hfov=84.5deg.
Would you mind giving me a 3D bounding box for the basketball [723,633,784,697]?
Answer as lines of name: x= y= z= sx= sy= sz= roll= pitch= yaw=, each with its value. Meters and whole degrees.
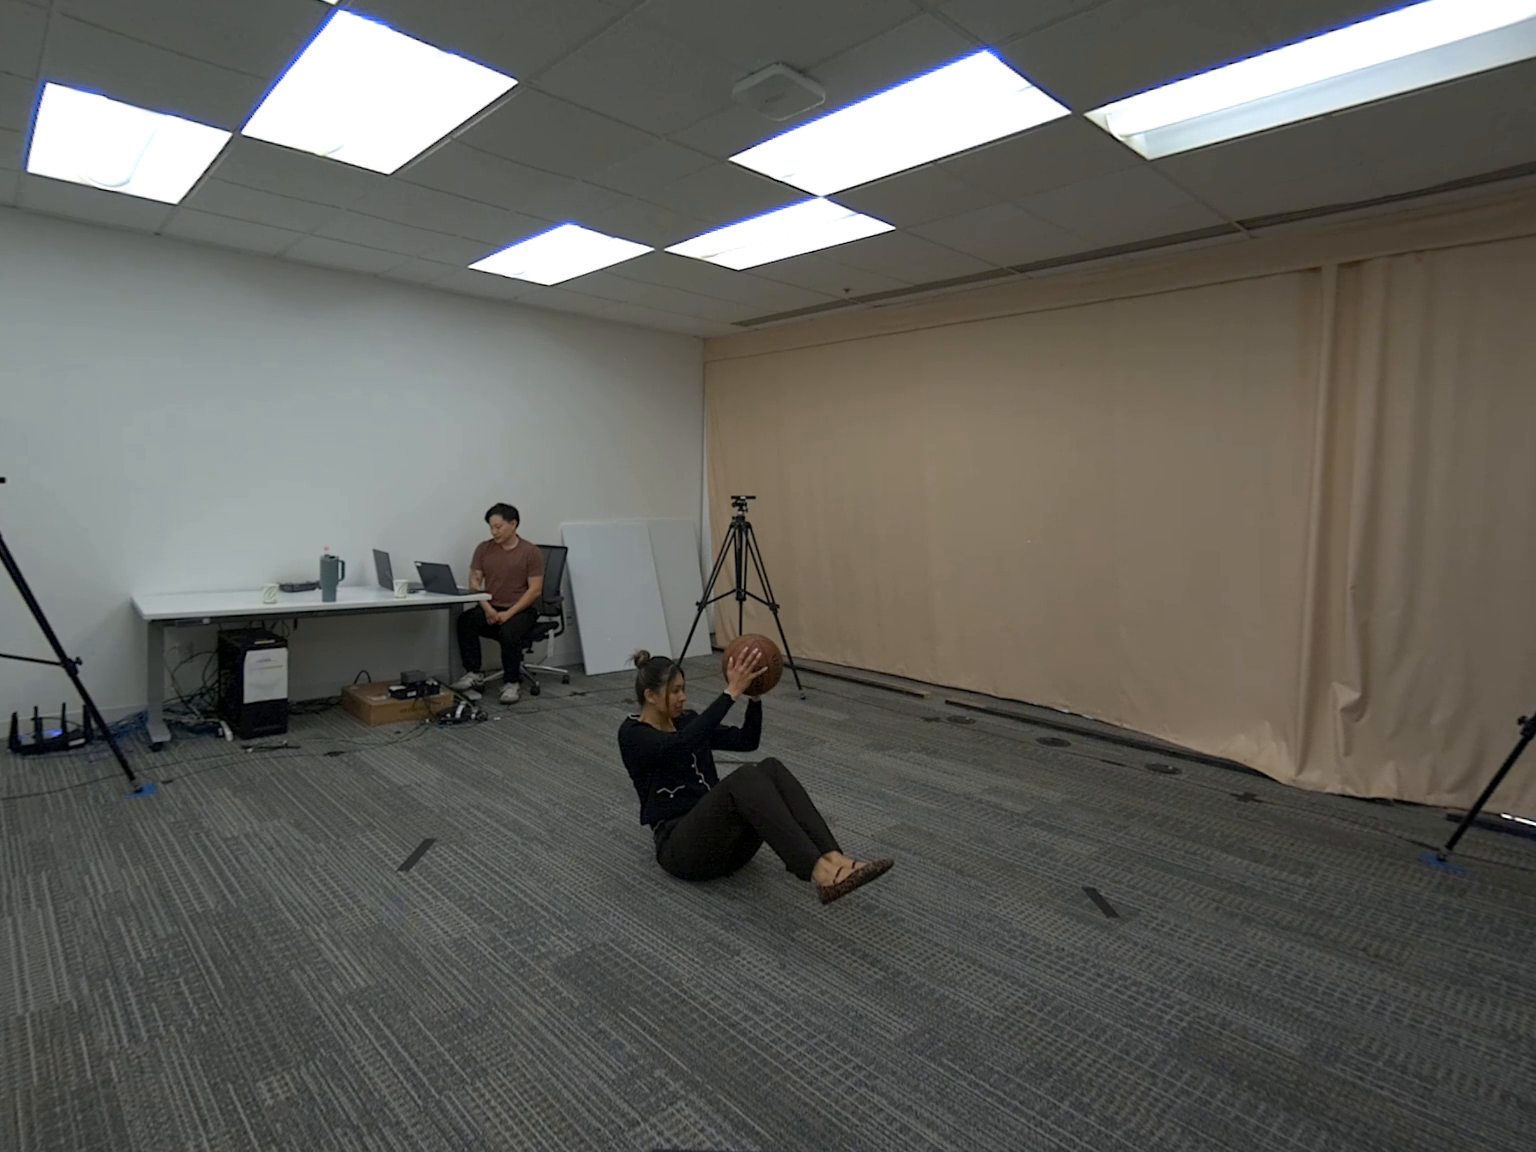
basketball: x=-0.071 y=0.354 z=3.209 sx=0.236 sy=0.235 sz=0.237 roll=1 pitch=4 yaw=-1
